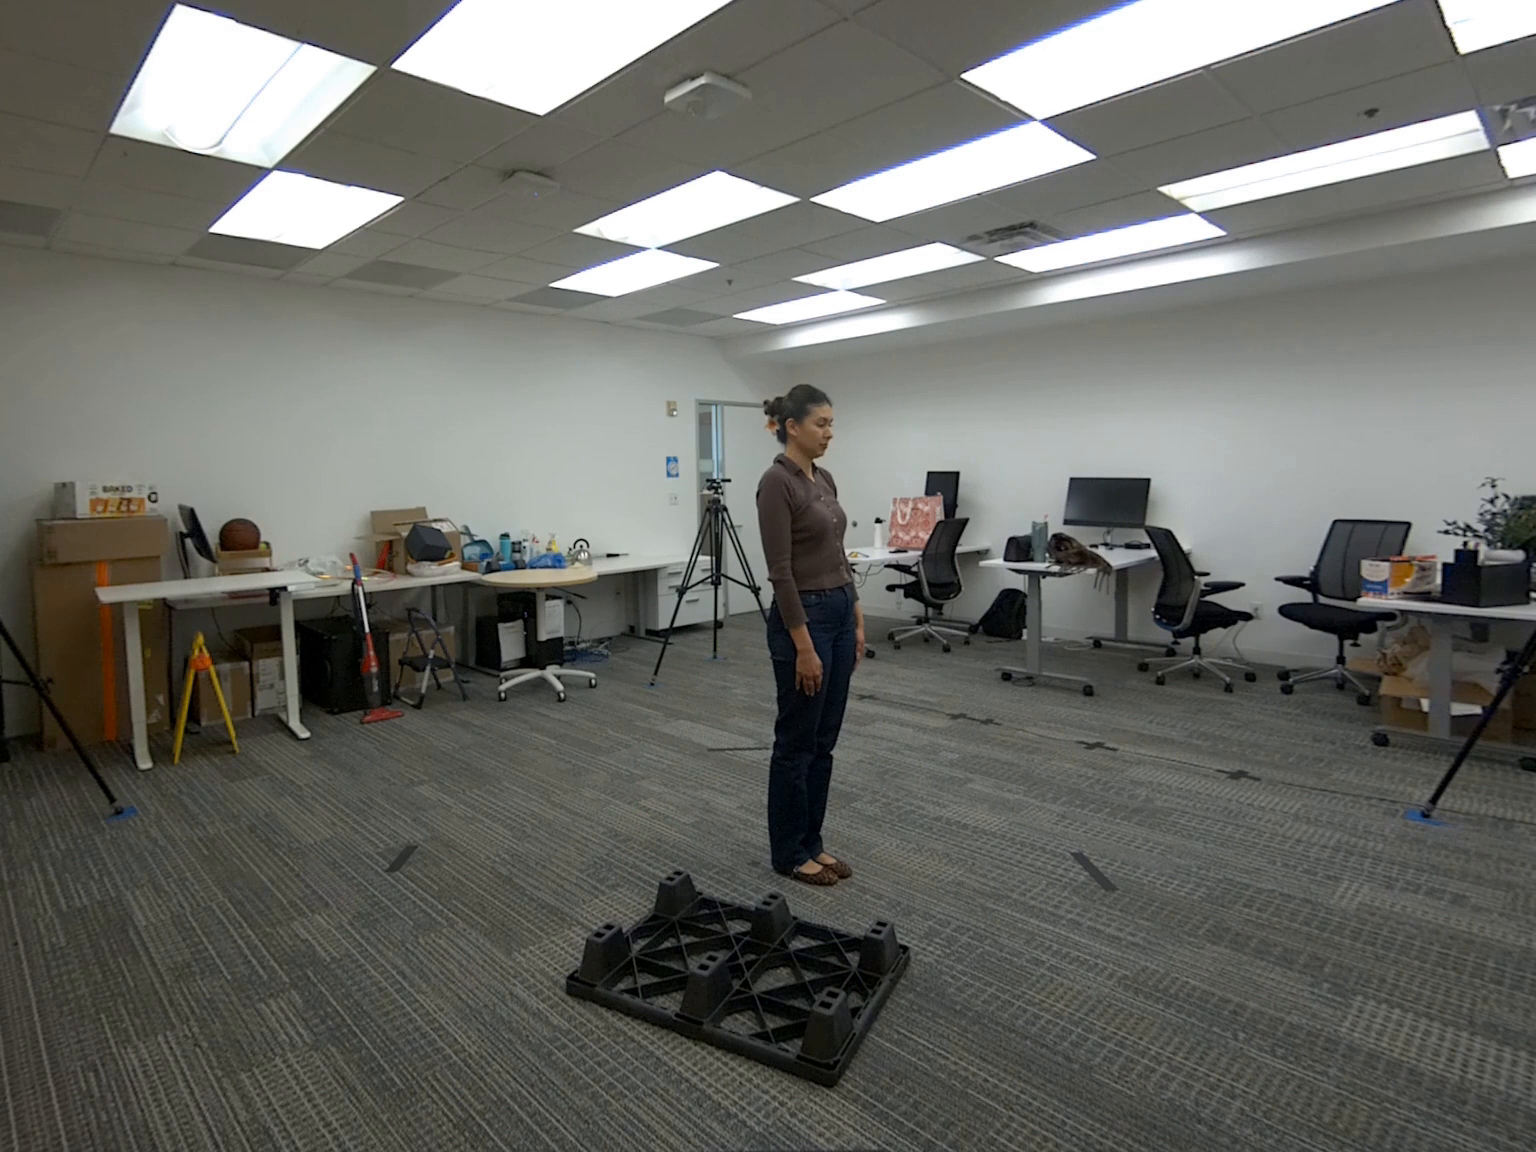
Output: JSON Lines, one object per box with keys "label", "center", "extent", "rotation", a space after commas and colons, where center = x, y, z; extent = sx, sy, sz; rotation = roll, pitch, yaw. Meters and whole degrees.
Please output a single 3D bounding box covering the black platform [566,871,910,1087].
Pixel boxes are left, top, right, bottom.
{"label": "black platform", "center": [-0.074, 1.062, 2.401], "extent": [0.826, 0.143, 0.593], "rotation": [2, 7, 28]}
